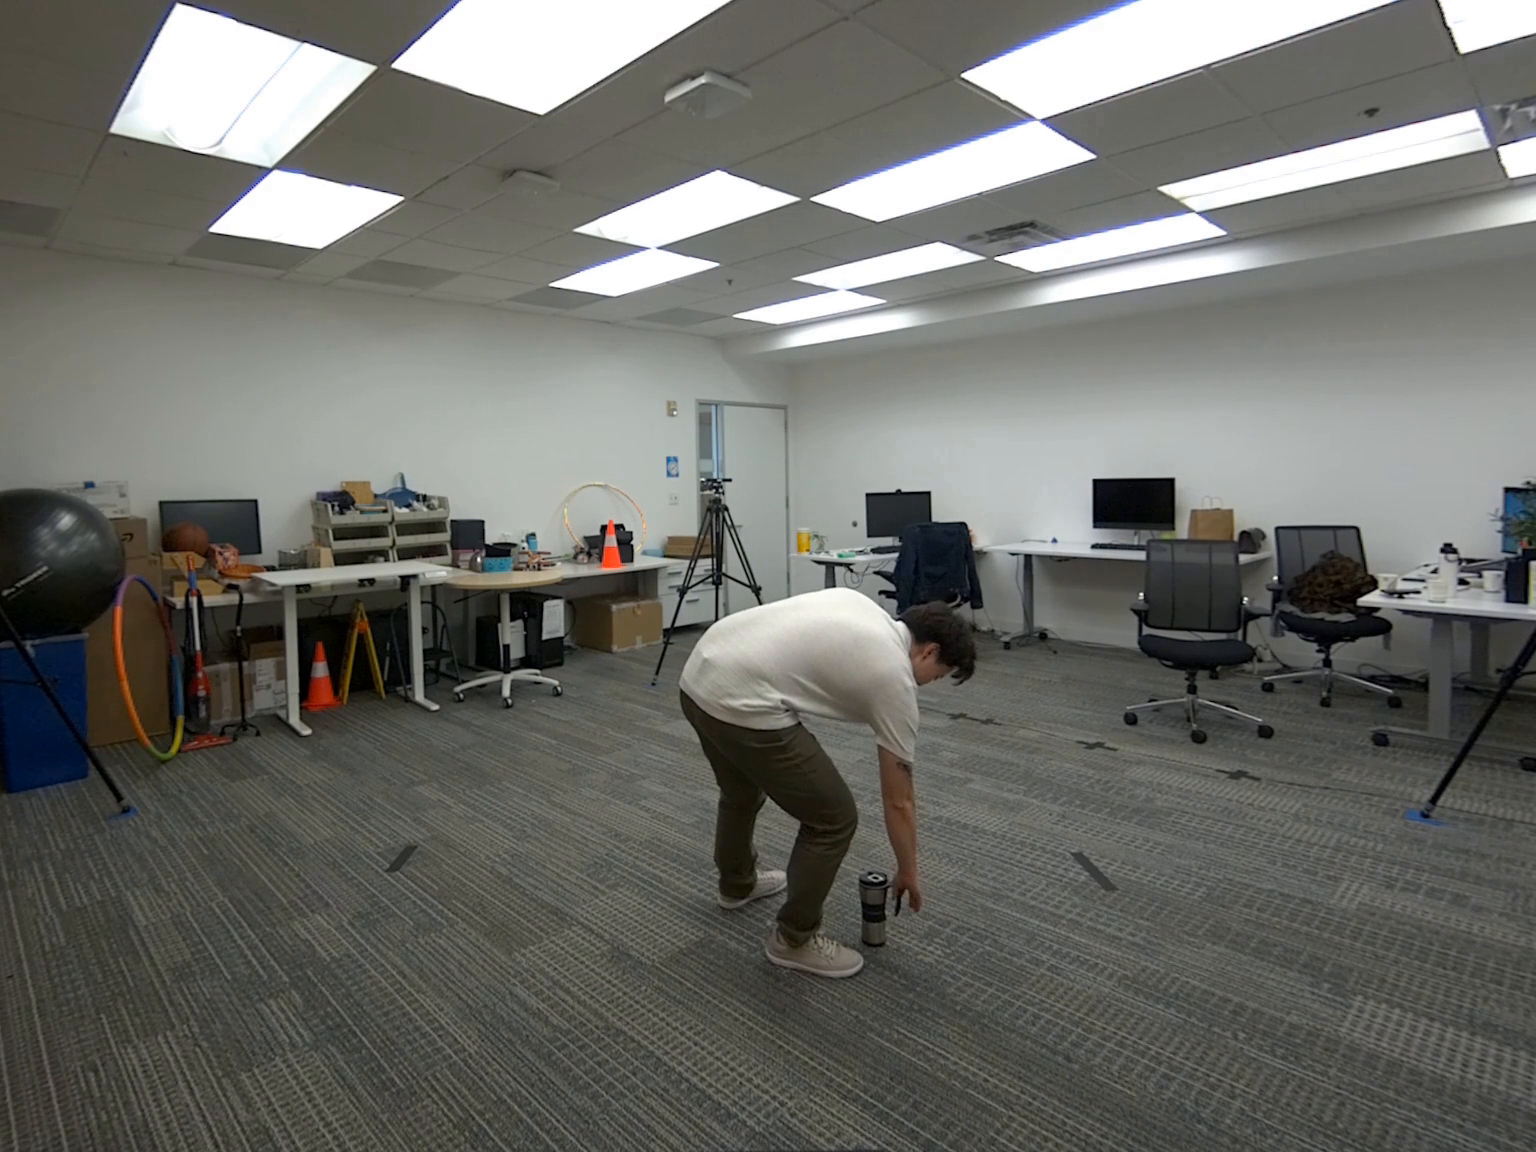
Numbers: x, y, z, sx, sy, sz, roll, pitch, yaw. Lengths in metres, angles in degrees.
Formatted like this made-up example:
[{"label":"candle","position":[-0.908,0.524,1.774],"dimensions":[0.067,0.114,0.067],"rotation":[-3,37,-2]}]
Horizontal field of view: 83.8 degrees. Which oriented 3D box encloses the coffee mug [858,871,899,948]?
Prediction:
[{"label":"coffee mug","position":[0.340,1.004,2.544],"dimensions":[0.125,0.203,0.086],"rotation":[-4,1,35]}]
